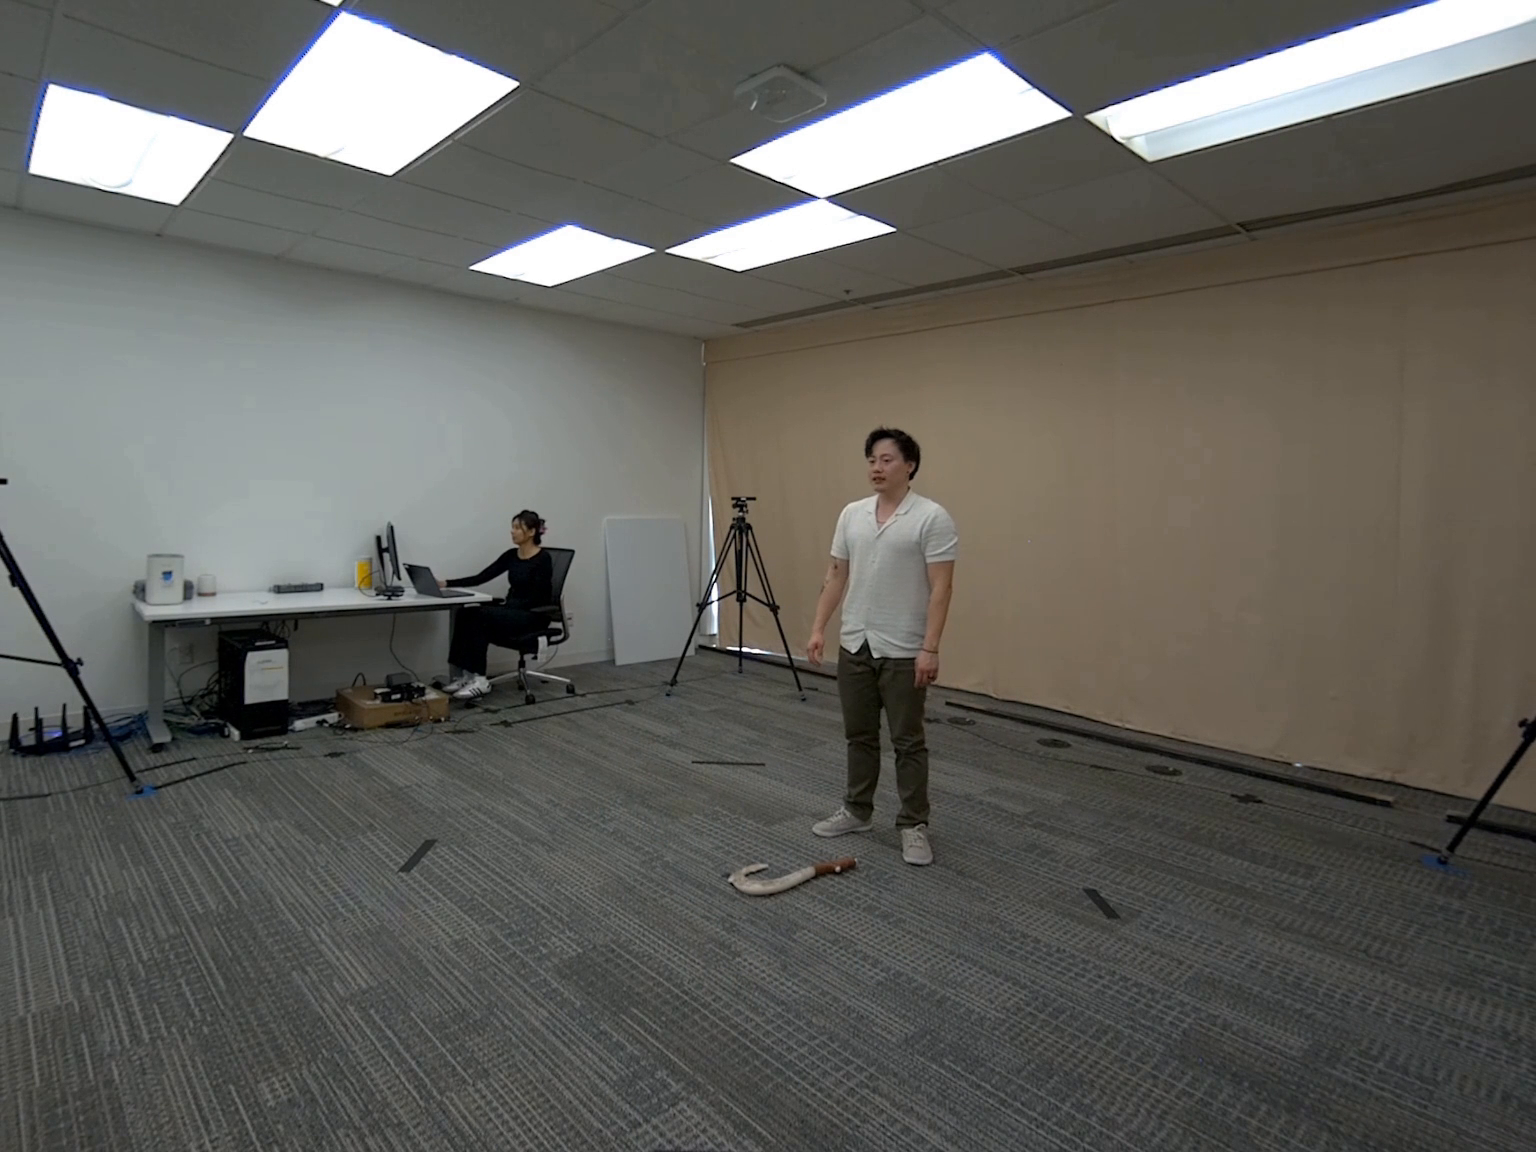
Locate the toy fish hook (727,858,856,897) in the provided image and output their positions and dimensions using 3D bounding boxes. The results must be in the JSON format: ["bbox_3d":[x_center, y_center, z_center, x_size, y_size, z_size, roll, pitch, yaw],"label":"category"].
[{"bbox_3d":[0.087,1.087,3.117,0.496,0.048,0.230,-1,6,-30],"label":"toy fish hook"}]
